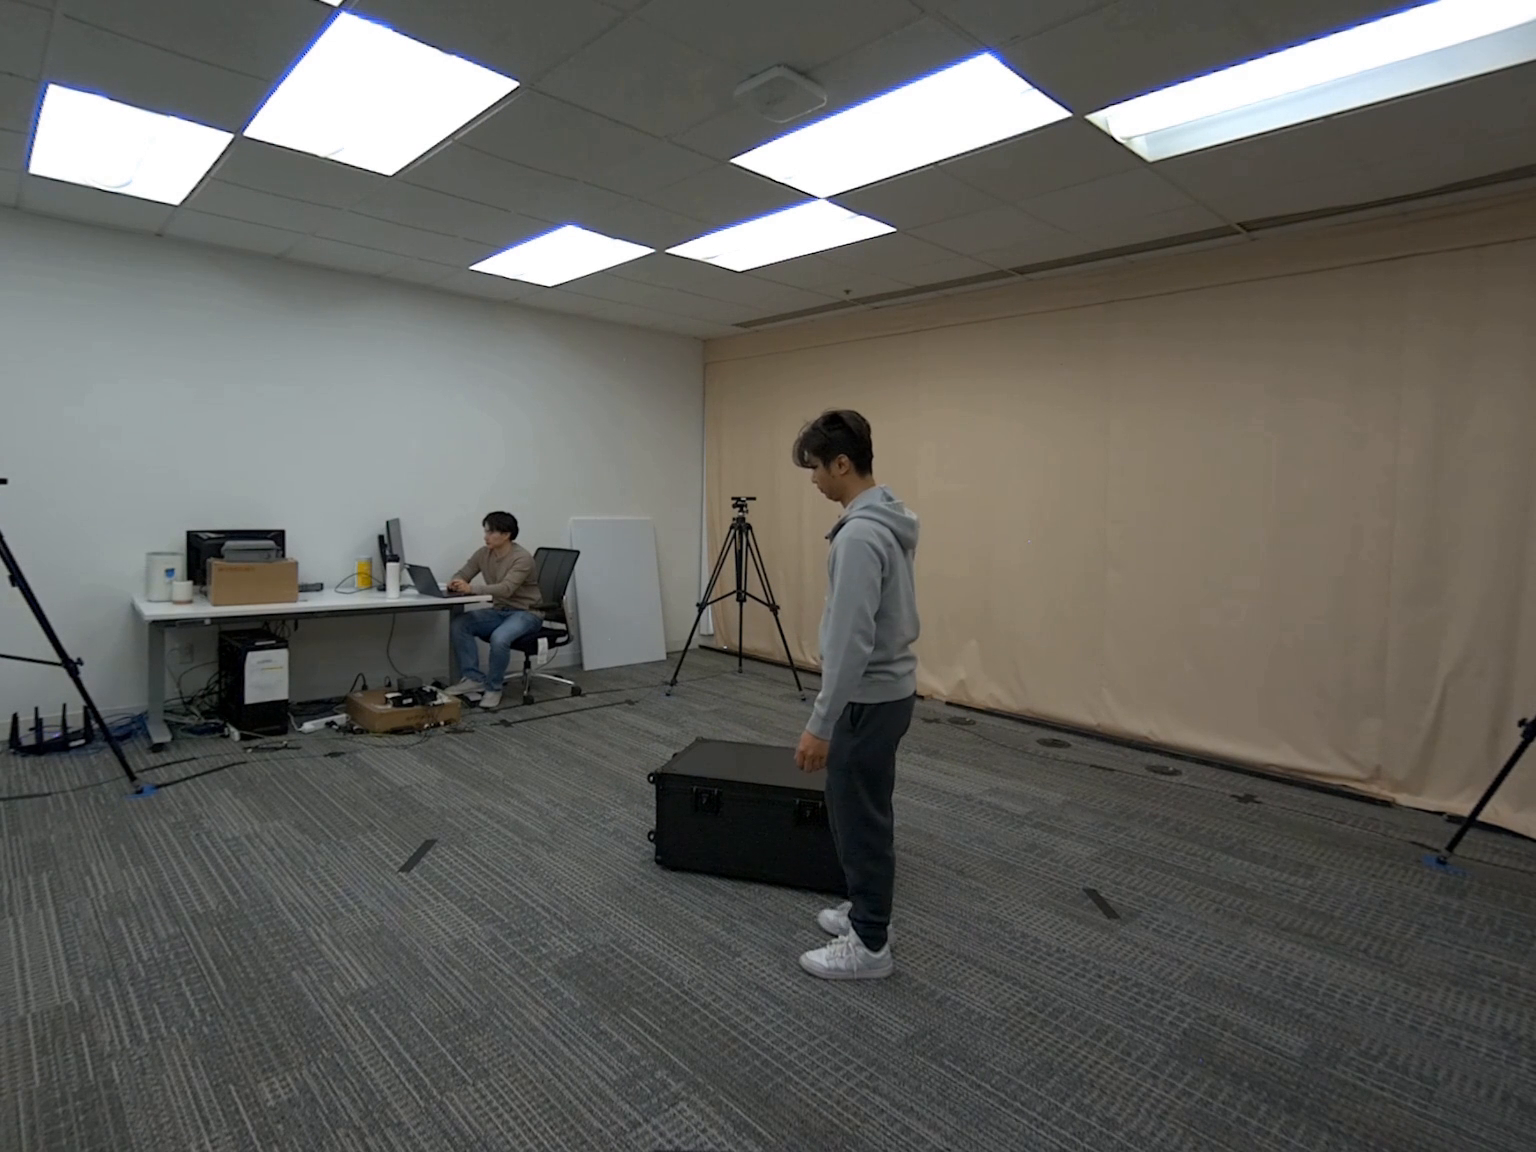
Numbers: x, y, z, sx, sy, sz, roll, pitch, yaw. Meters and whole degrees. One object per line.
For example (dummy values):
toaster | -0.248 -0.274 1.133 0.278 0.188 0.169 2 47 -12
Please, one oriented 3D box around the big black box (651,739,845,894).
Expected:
big black box | -0.019 0.902 3.259 0.873 0.395 0.516 4 5 16
